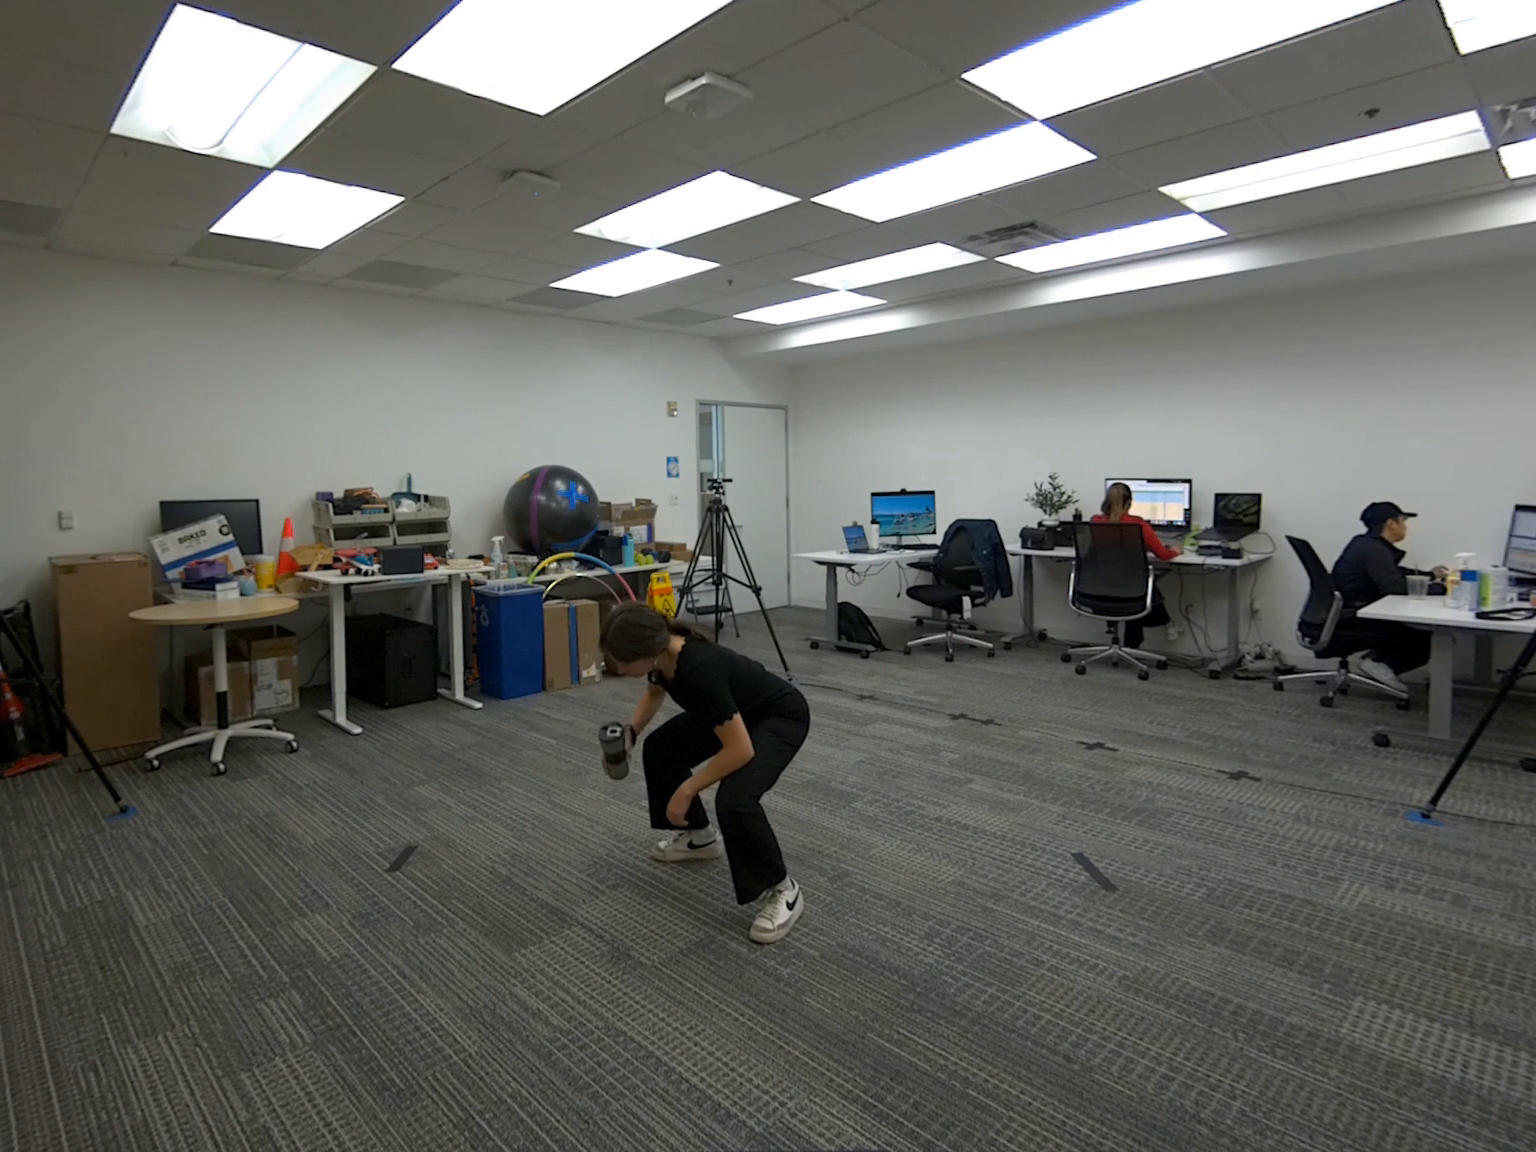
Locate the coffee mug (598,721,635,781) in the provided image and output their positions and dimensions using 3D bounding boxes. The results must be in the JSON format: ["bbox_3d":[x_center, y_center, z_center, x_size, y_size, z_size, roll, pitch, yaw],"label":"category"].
[{"bbox_3d":[-0.482,0.583,2.872,0.121,0.197,0.091,-25,37,-19],"label":"coffee mug"}]
